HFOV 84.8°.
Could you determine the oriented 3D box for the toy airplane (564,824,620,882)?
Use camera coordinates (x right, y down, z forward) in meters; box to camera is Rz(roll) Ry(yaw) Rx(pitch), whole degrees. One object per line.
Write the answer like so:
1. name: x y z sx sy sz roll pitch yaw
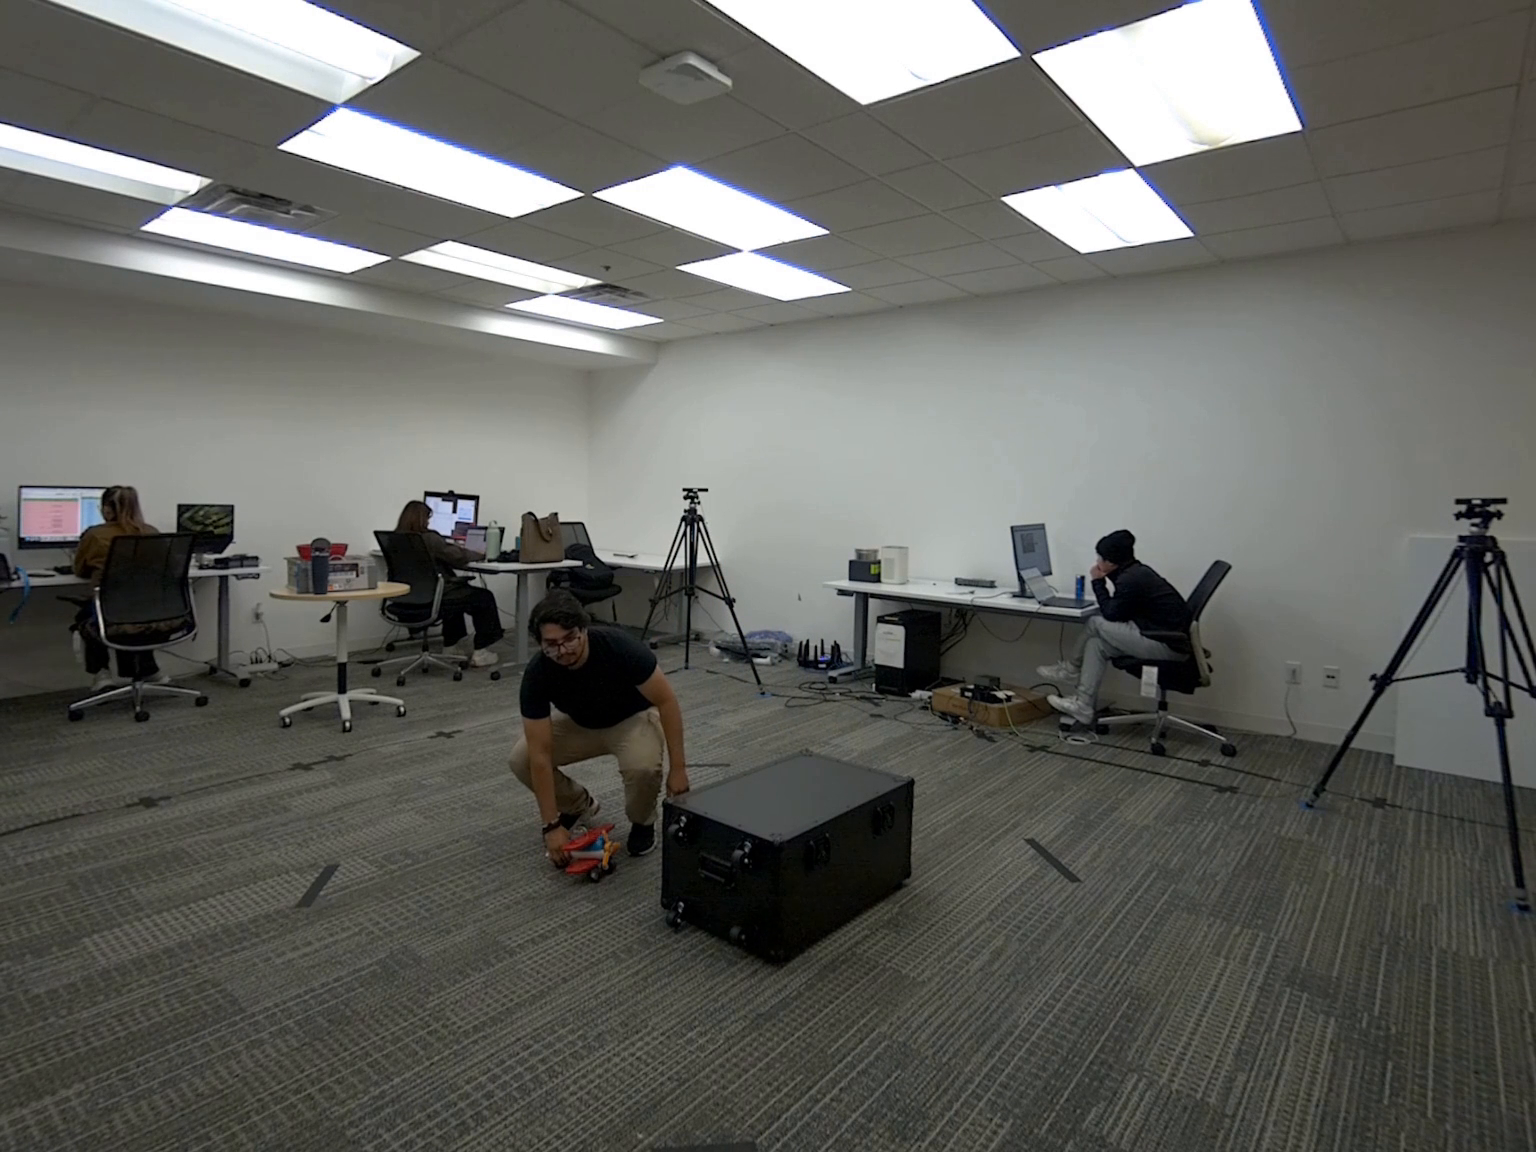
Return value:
1. toy airplane: -0.682 0.995 3.054 0.259 0.156 0.252 3 5 -2
